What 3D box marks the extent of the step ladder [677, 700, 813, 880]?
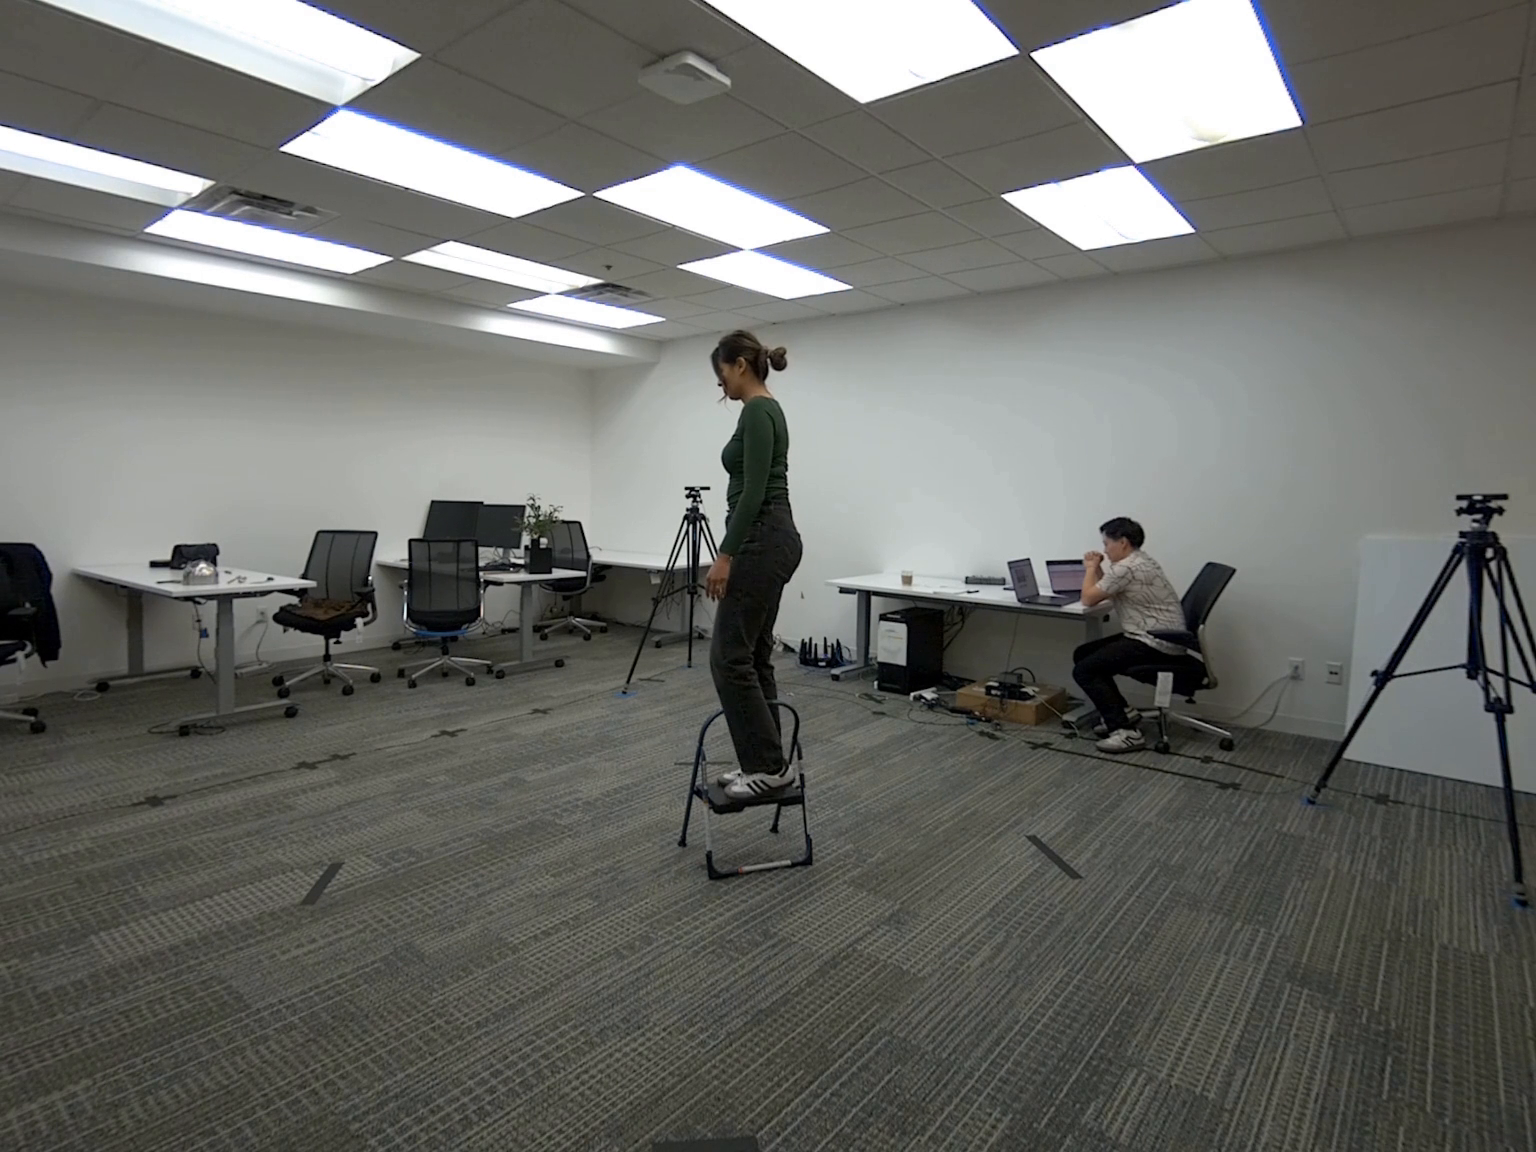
[{"bbox_3d":[-0.095,0.755,3.224,0.421,0.604,0.358,-1,4,-24],"label":"step ladder"}]
